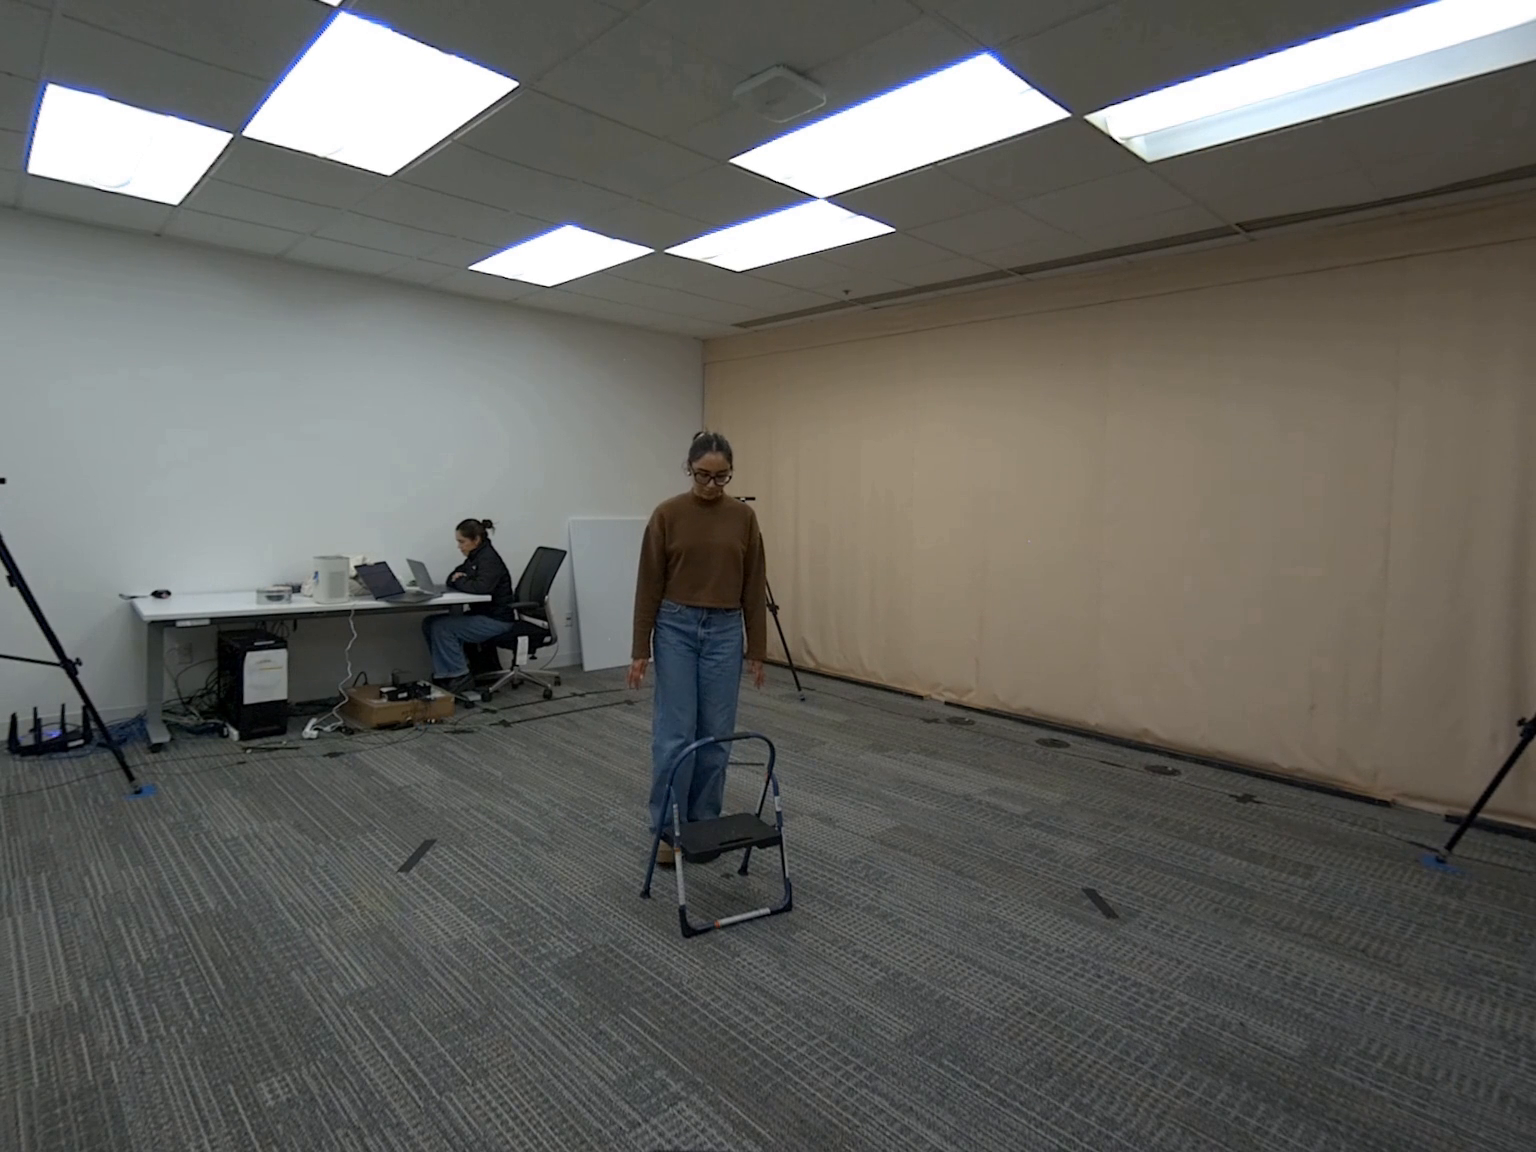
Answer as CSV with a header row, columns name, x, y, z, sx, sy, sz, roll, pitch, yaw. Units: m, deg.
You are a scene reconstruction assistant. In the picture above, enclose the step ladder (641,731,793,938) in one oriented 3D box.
name,x,y,z,sx,sy,sz,roll,pitch,yaw
step ladder,-0.177,0.824,2.885,0.422,0.605,0.357,-1,4,-32
